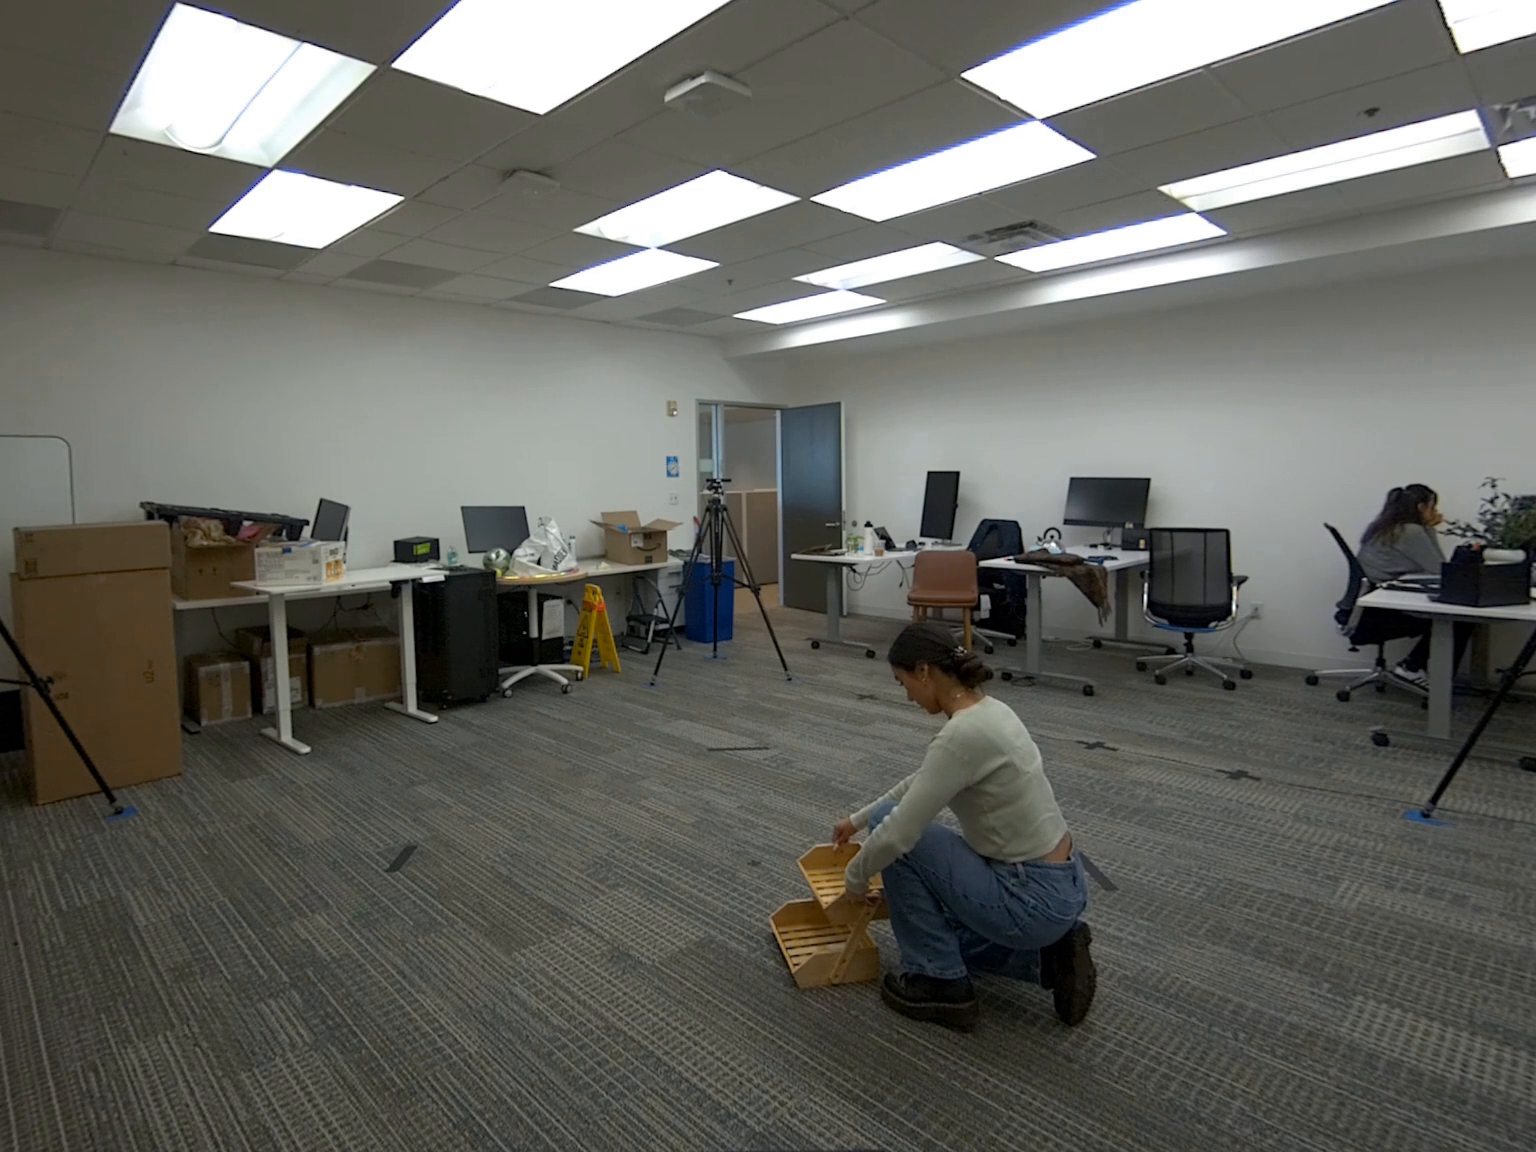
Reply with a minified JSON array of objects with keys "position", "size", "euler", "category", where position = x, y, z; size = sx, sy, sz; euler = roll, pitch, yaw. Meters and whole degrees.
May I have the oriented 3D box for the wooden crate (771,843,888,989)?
[{"position":[0.178,0.981,2.497],"size":[0.299,0.272,0.329],"euler":[-3,6,-11],"category":"wooden crate"}]
